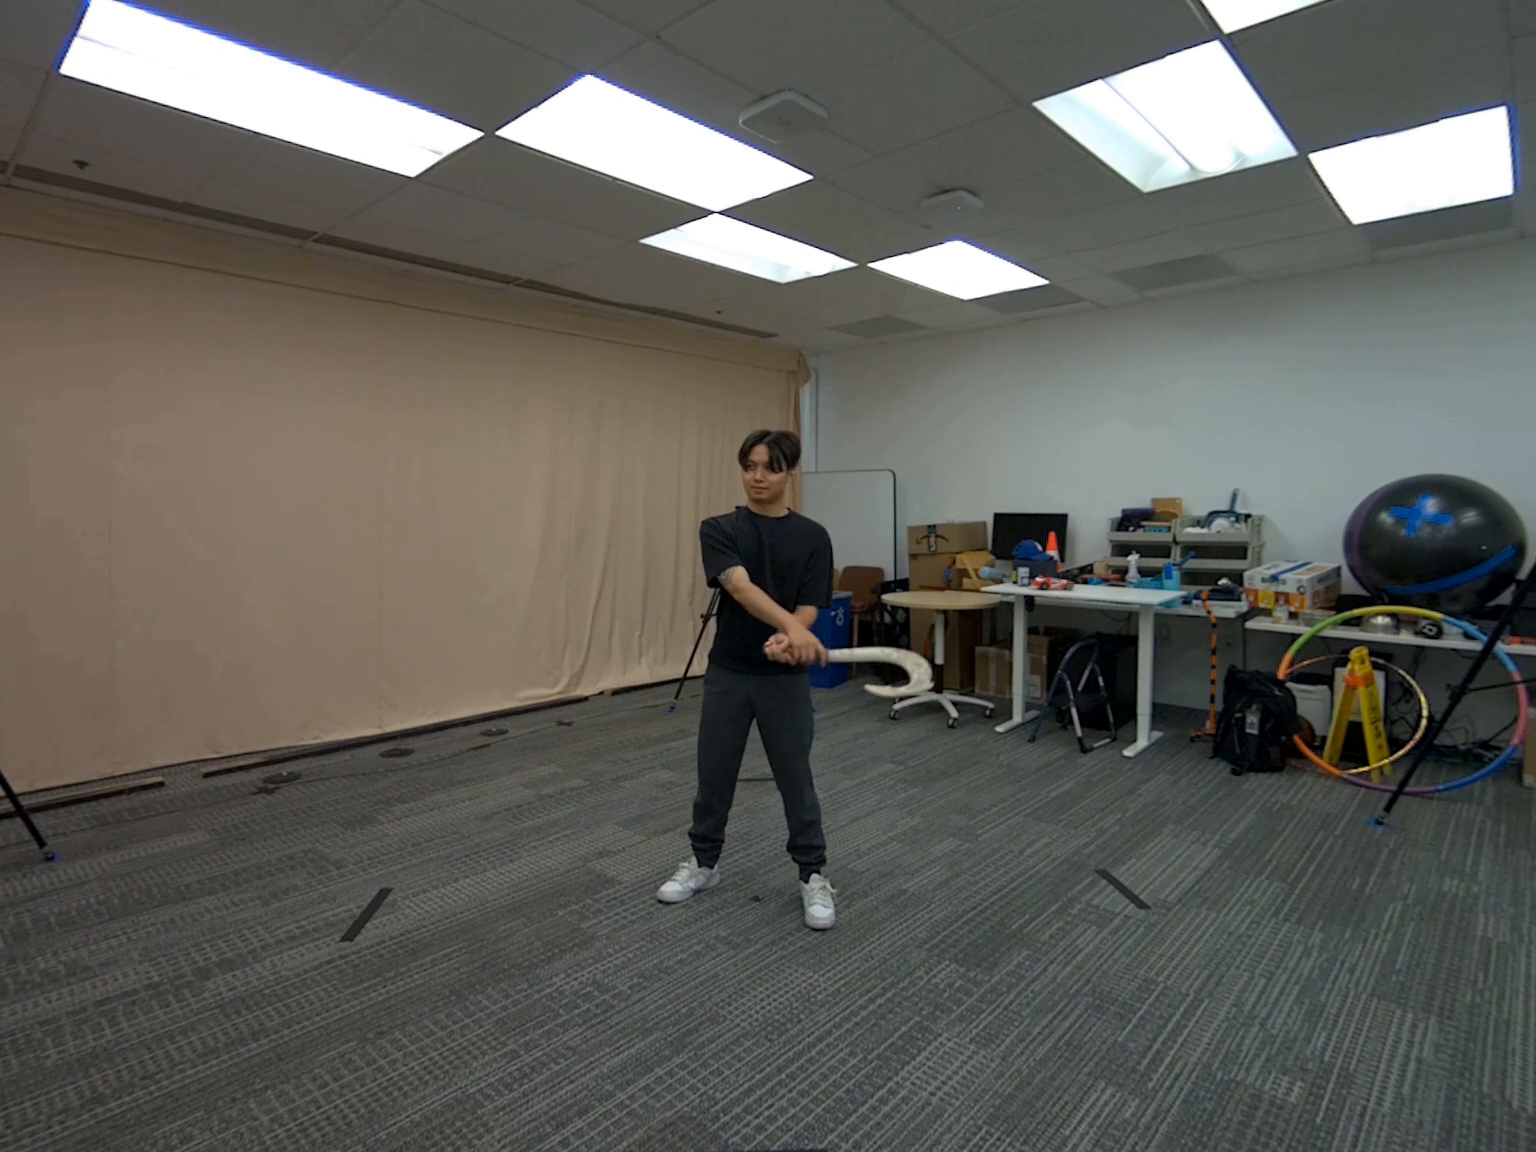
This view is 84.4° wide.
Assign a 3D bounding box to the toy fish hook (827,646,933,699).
[{"bbox_3d":[0.220,0.251,2.521,0.511,0.047,0.225,5,26,7],"label":"toy fish hook"}]
